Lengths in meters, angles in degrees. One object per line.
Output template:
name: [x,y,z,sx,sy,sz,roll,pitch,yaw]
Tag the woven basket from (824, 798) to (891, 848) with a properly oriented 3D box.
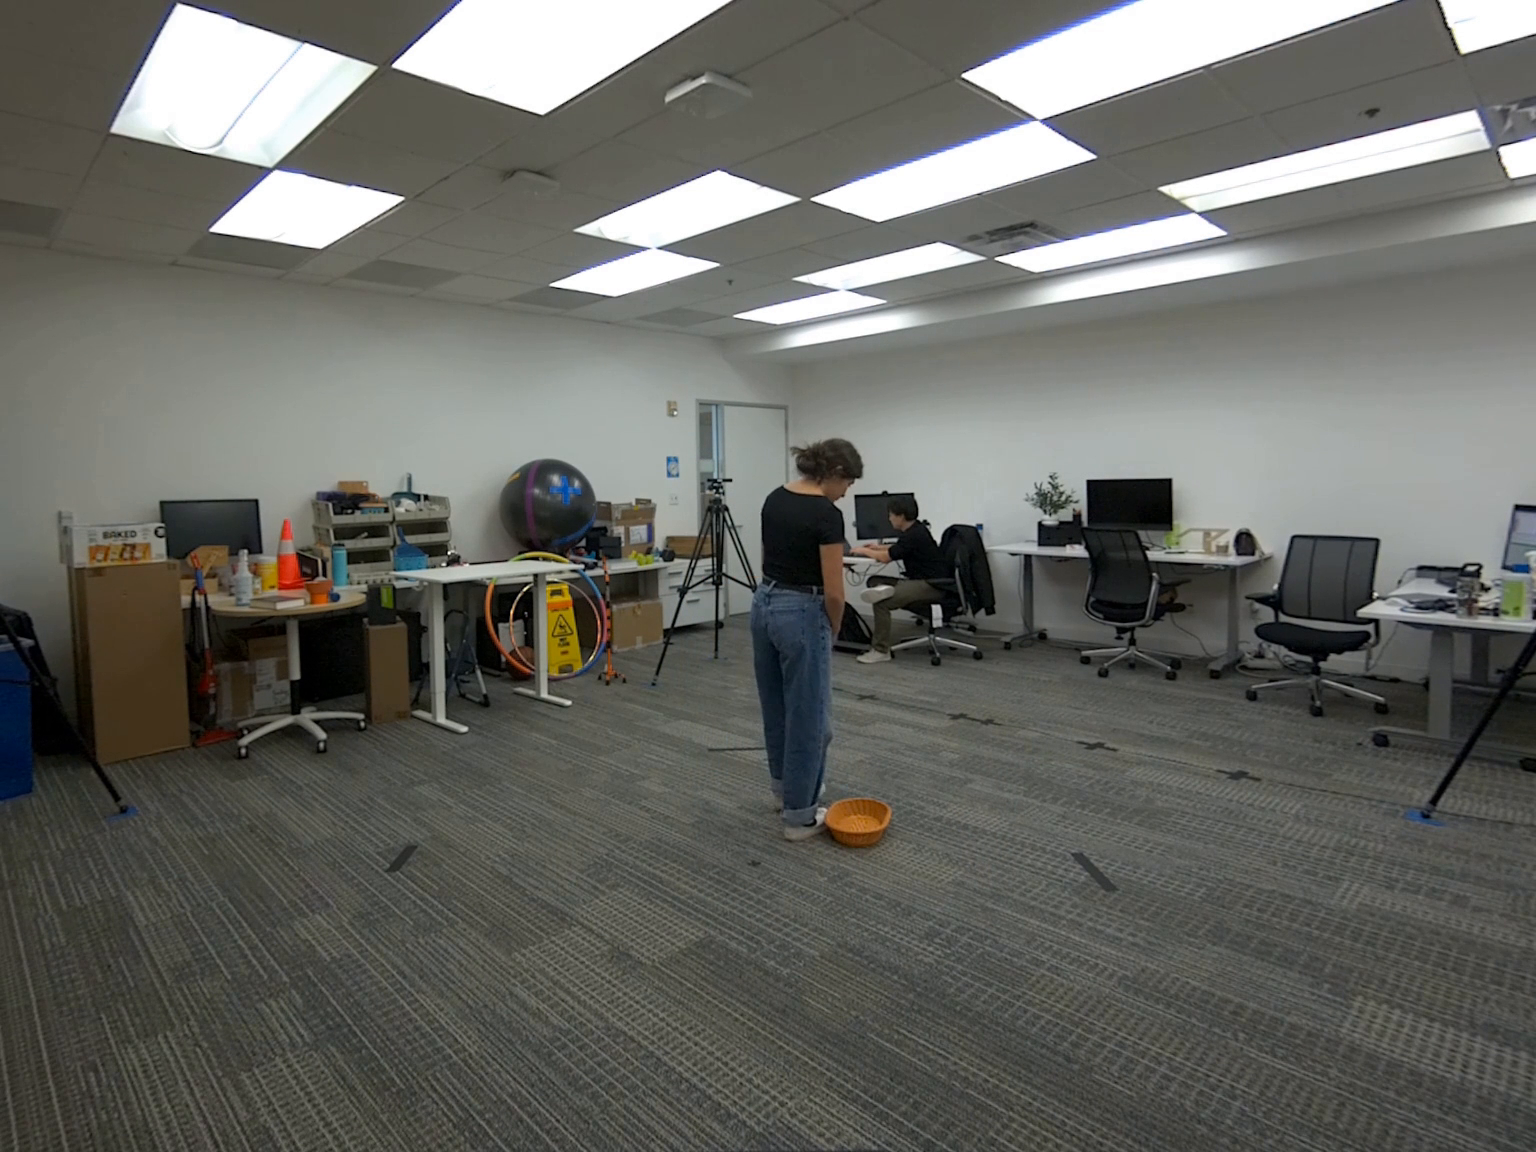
woven basket: [0.345,0.966,3.365,0.257,0.073,0.345,0,7,20]
